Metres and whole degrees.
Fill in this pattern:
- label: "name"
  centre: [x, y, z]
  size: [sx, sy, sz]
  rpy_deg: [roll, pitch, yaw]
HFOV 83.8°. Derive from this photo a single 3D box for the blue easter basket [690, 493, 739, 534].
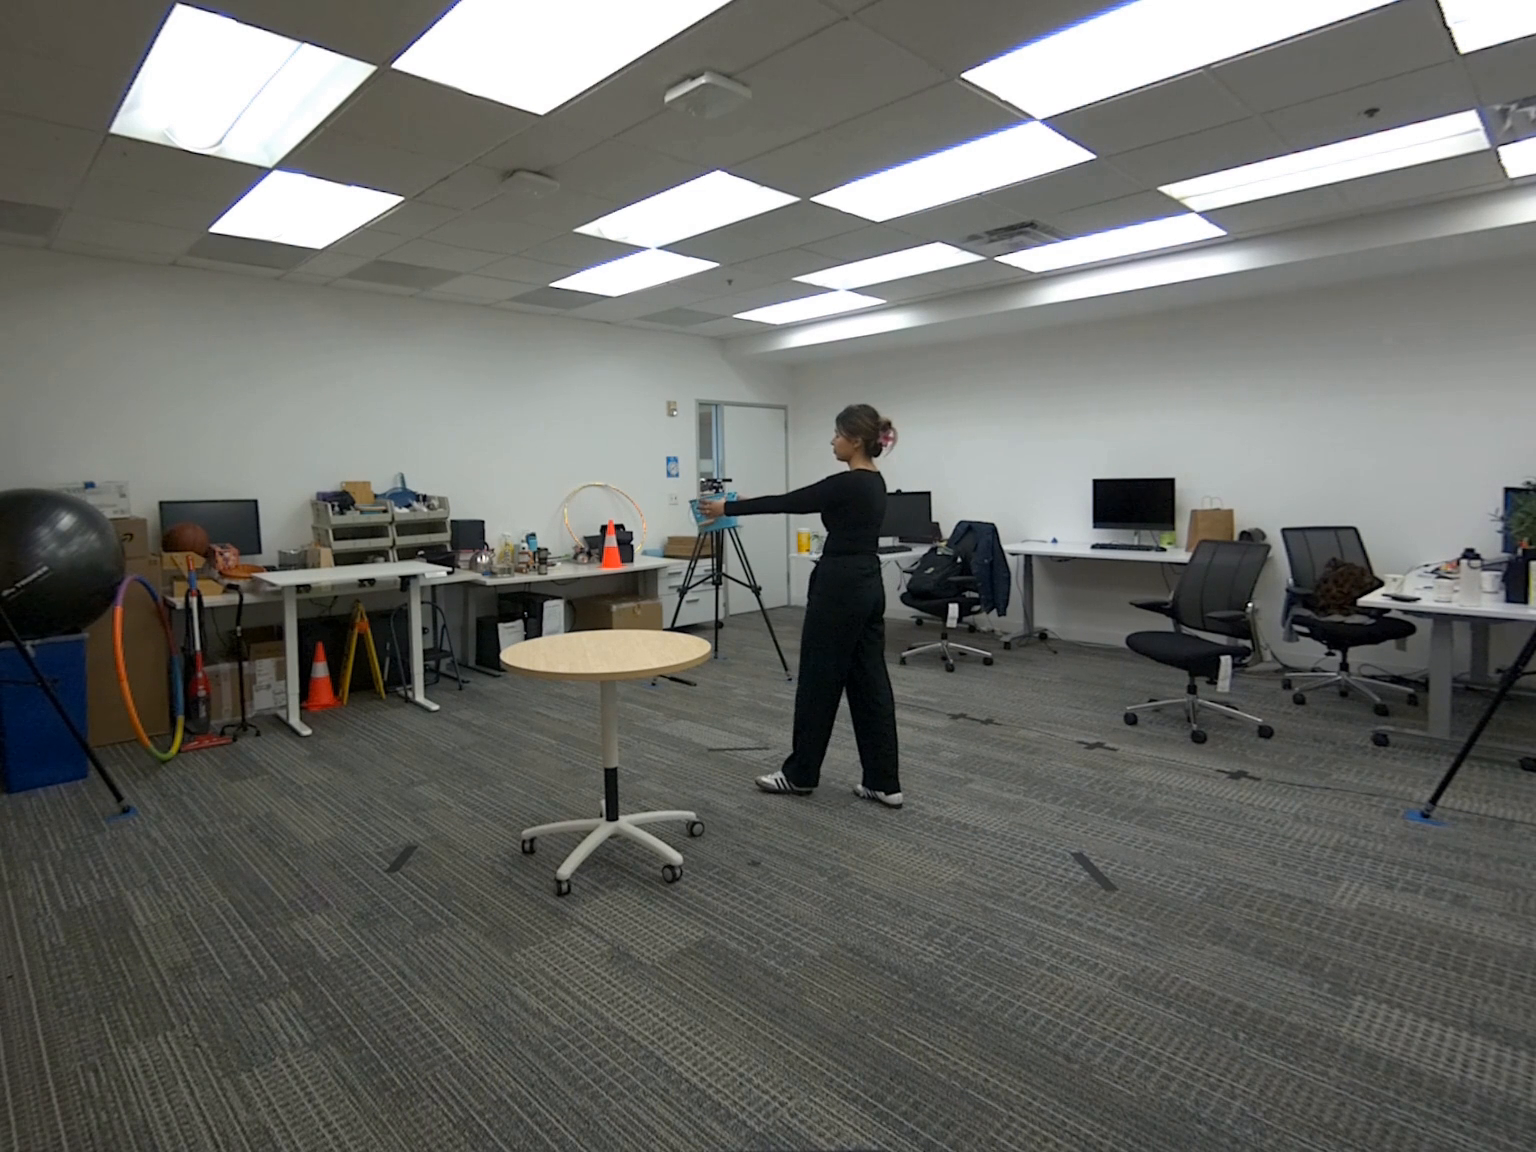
- label: "blue easter basket"
  centre: [-0.230, -0.293, 3.929]
  size: [0.243, 0.155, 0.244]
  rpy_deg: [-9, 4, -1]
